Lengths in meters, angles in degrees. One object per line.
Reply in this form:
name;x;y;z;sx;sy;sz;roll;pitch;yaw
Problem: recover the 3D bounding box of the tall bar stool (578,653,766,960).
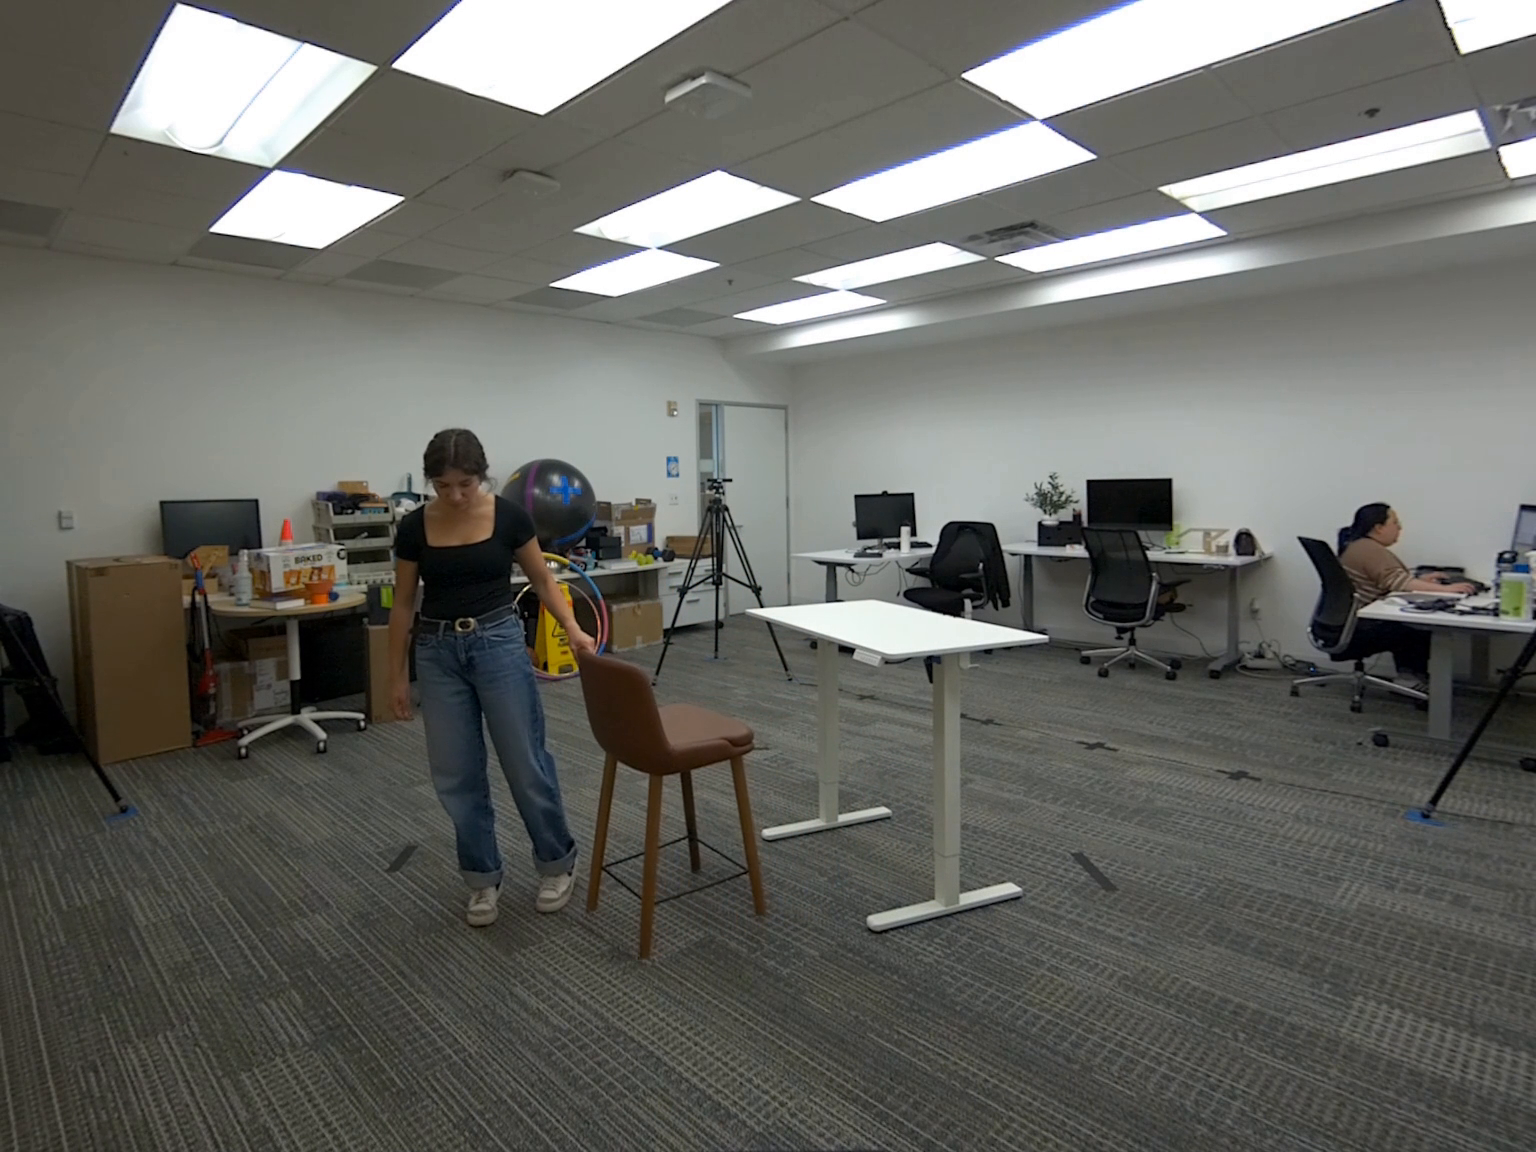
tall bar stool;-0.314;0.656;2.741;0.456;0.885;0.470;-7;7;-36
